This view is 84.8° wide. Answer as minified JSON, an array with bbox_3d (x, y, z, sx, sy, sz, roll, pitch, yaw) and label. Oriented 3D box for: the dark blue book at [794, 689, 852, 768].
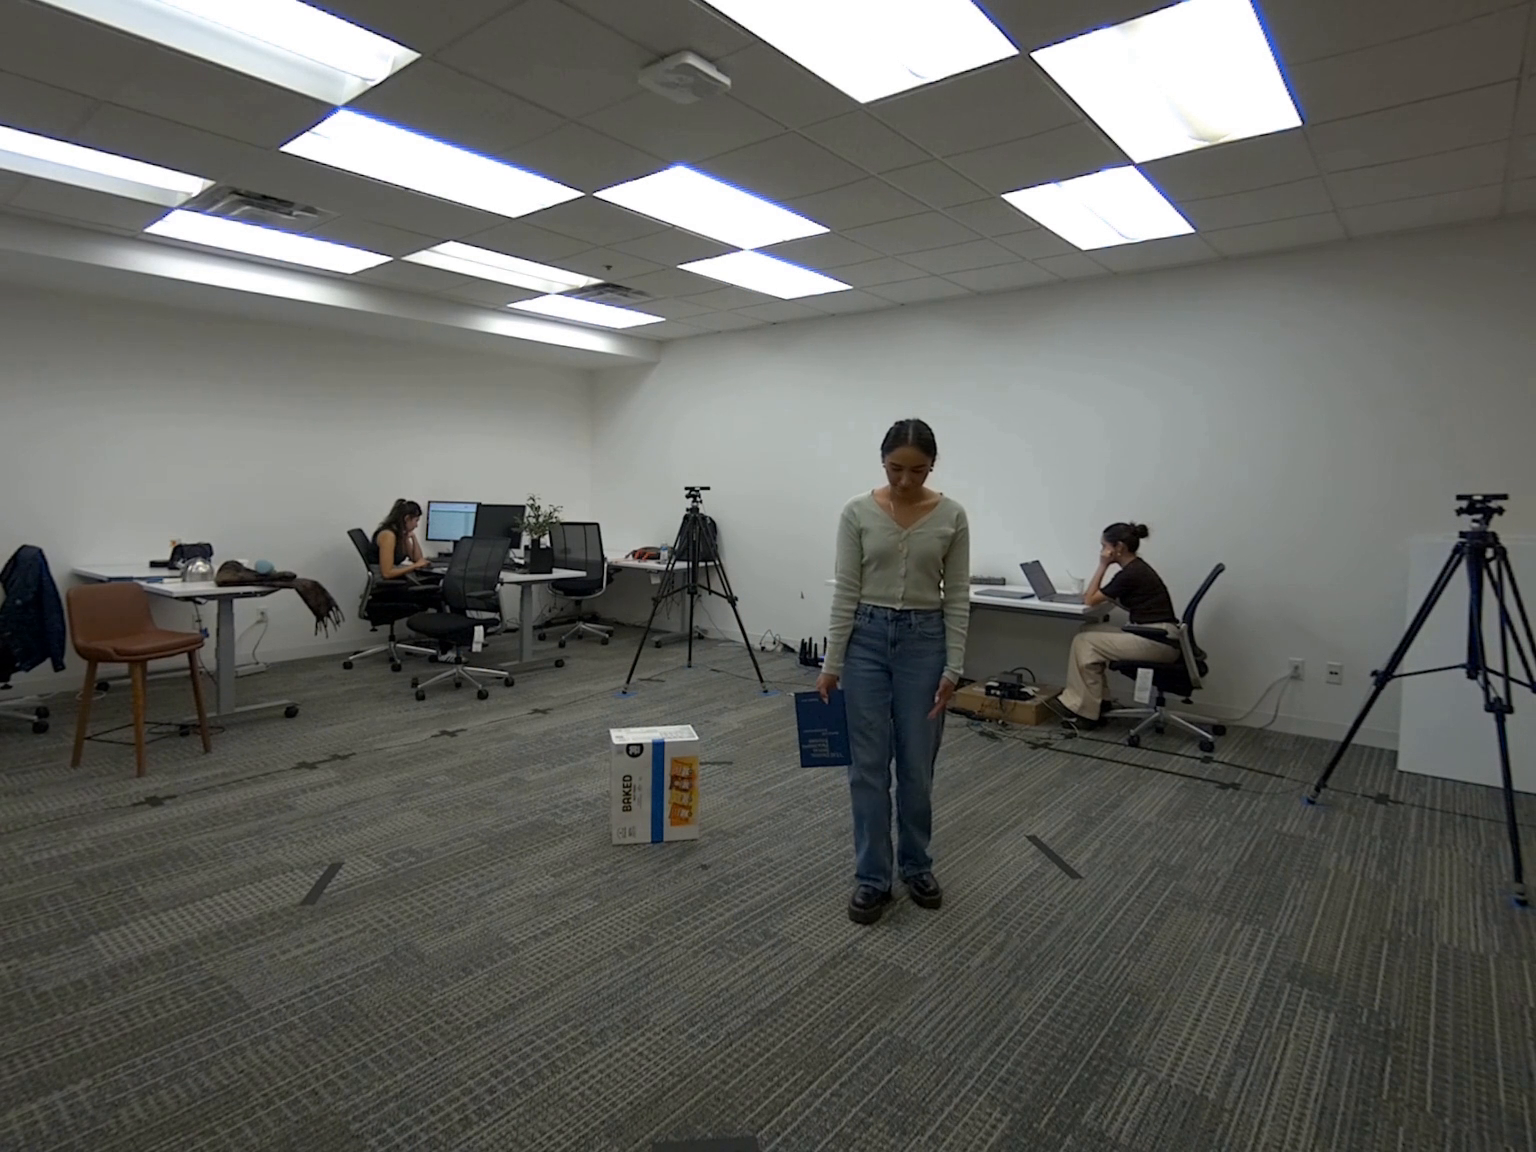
[{"bbox_3d":[0.170,0.506,2.811,0.163,0.247,0.045,-5,-7,-1],"label":"dark blue book"}]
